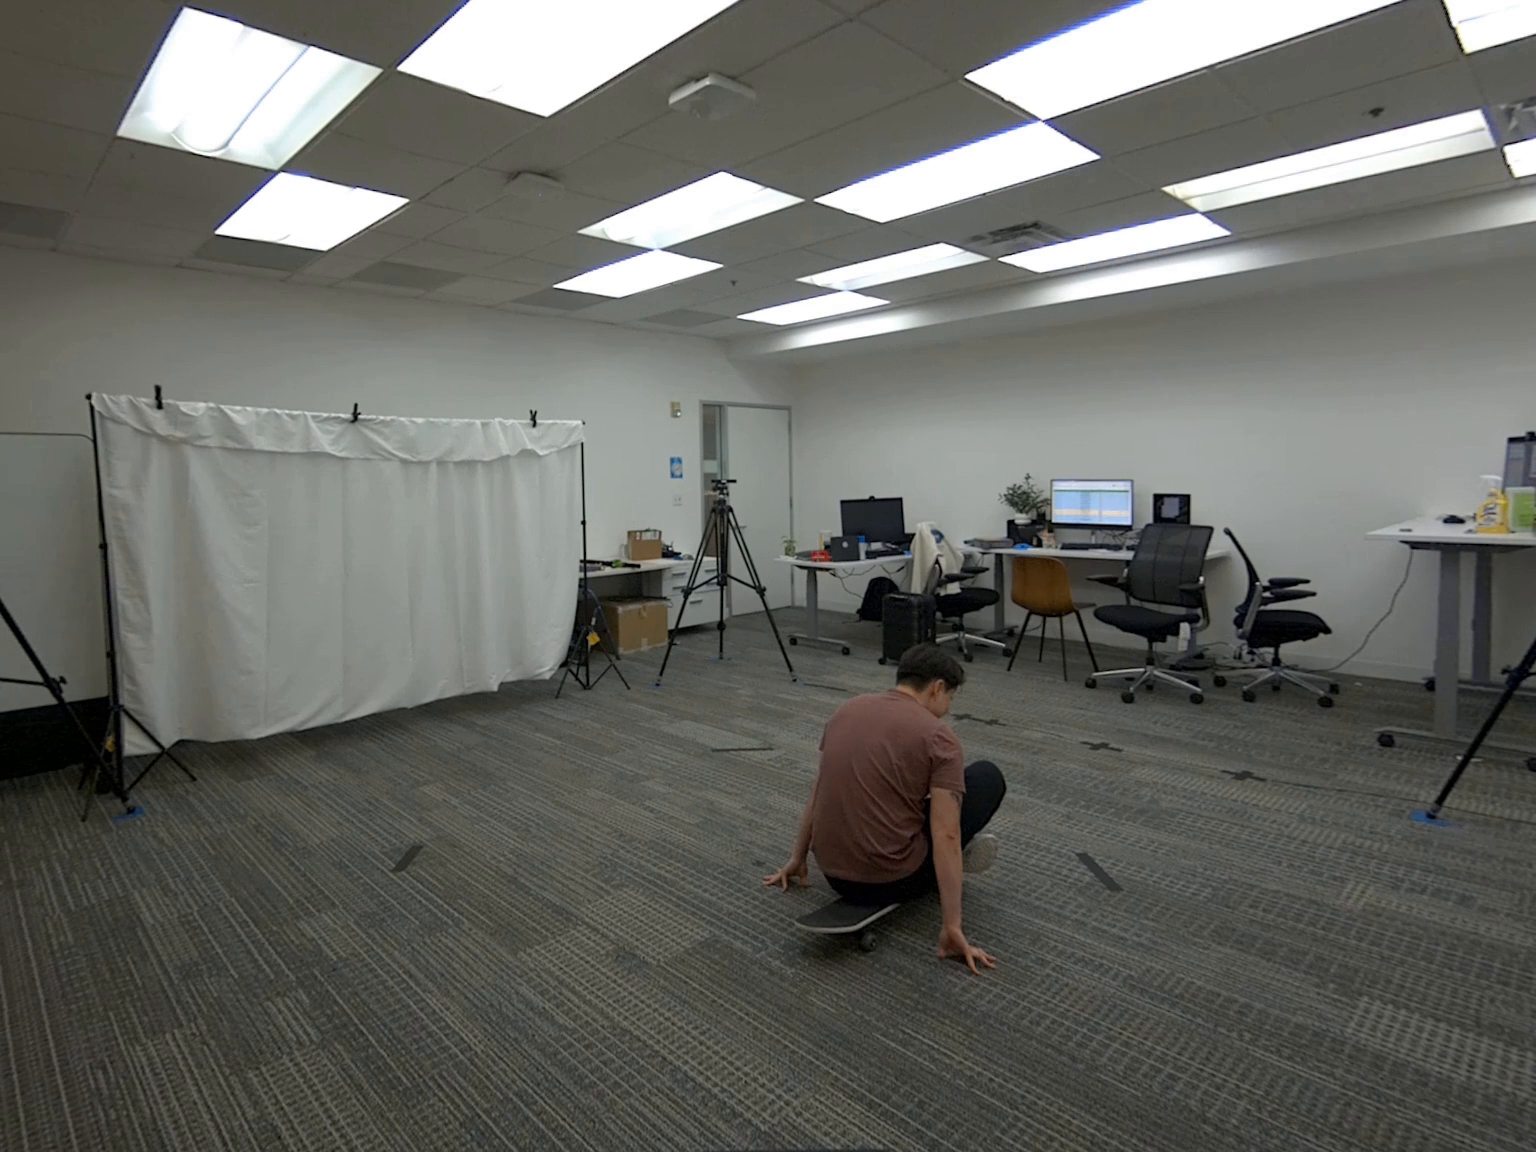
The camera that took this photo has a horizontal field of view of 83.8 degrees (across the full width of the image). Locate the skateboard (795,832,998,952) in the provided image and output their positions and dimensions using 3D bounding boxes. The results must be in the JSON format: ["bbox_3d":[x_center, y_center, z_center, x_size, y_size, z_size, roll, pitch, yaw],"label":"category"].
[{"bbox_3d":[0.395,1.025,2.719,0.766,0.111,0.197,-9,-3,-42],"label":"skateboard"}]
